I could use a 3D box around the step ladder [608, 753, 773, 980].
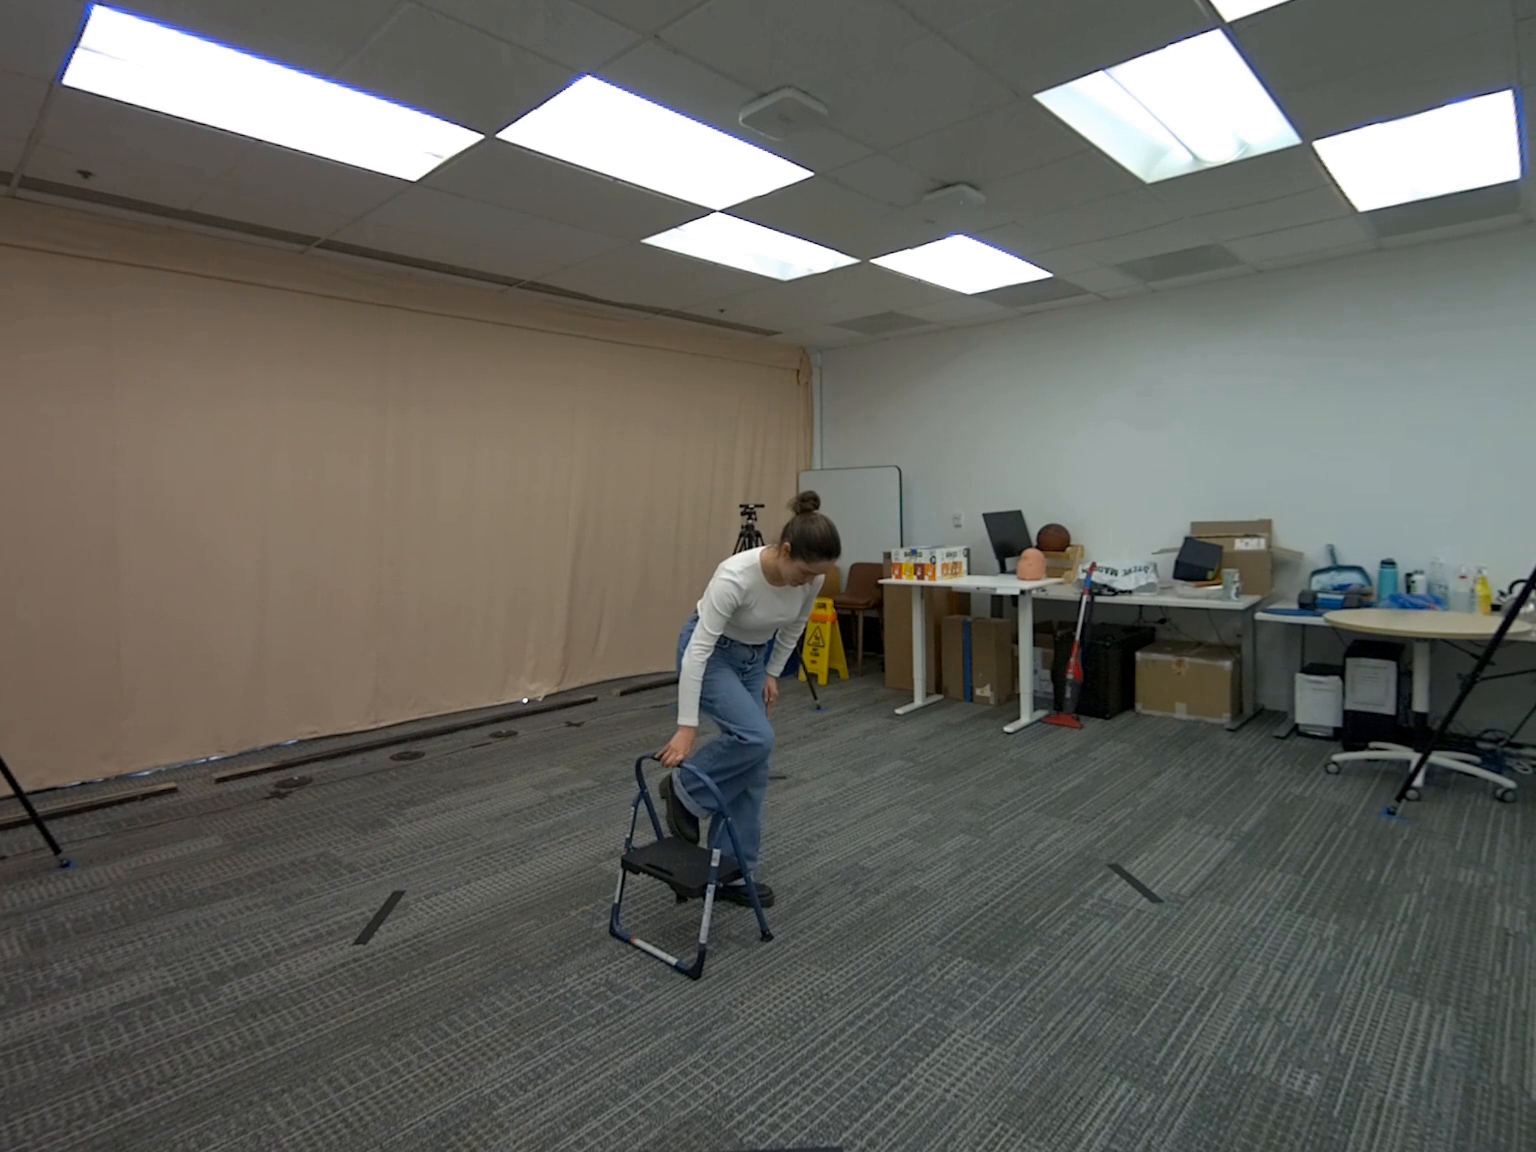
[{"bbox_3d":[-0.258,0.862,2.710,0.445,0.605,0.338,2,4,42],"label":"step ladder"}]
